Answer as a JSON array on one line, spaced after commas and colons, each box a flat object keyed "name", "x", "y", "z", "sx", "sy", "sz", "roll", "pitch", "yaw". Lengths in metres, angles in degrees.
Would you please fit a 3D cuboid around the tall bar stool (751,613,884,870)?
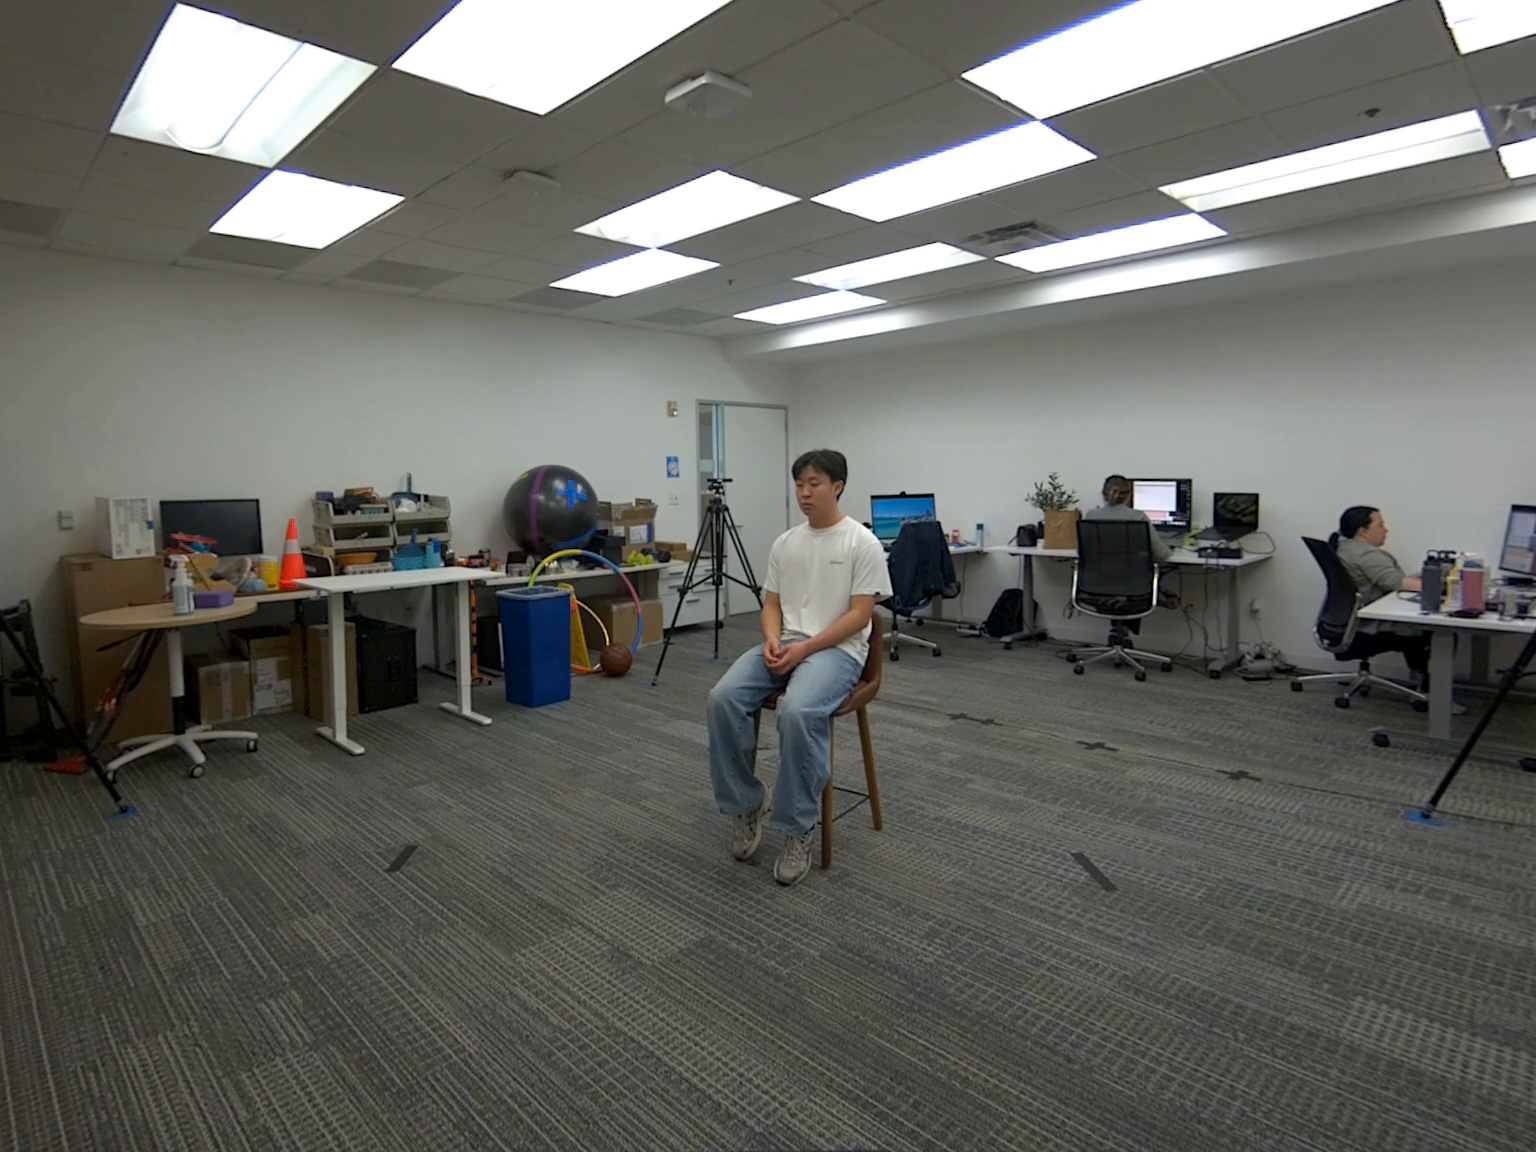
[{"name": "tall bar stool", "x": 0.186, "y": 0.582, "z": 3.324, "sx": 0.470, "sy": 0.888, "sz": 0.455, "roll": 4, "pitch": 3, "yaw": 36}]
